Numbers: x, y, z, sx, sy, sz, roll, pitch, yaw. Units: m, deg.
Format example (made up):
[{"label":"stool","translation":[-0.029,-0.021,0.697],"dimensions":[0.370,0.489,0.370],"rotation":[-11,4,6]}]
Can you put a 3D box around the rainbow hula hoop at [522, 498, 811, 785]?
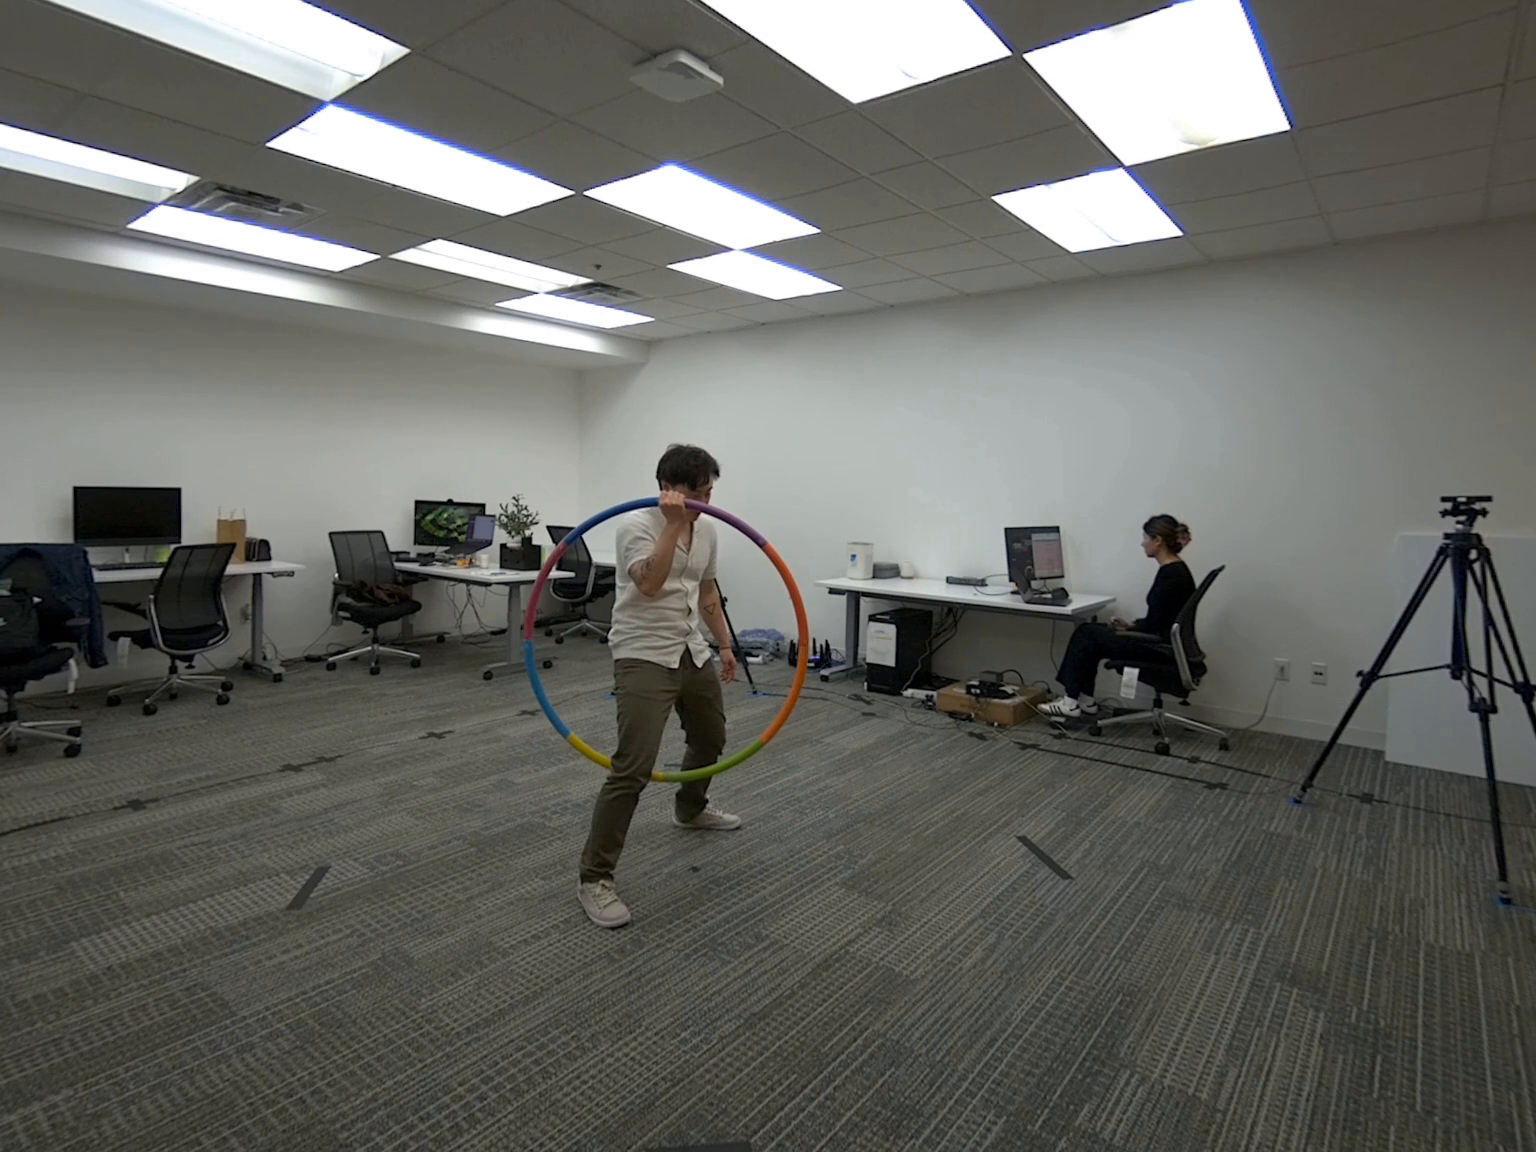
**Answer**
[{"label":"rainbow hula hoop","translation":[-0.368,0.217,2.913],"dimensions":[0.982,0.973,0.035],"rotation":[1,6,4]}]
